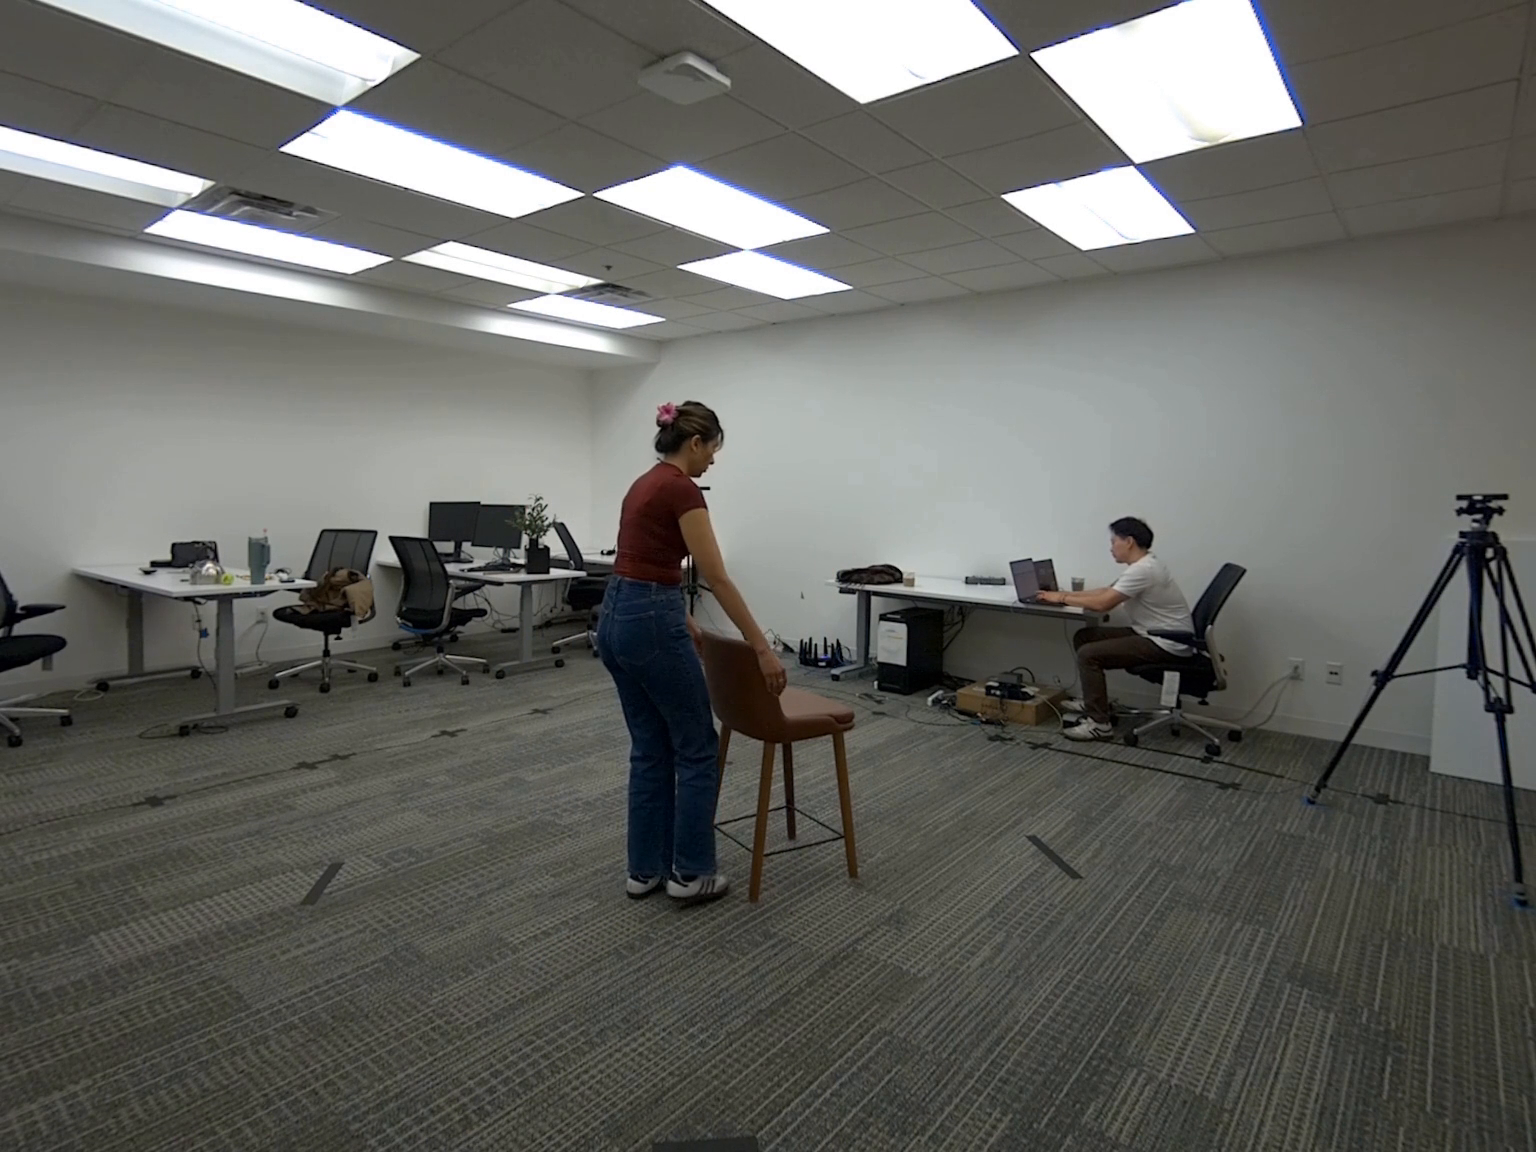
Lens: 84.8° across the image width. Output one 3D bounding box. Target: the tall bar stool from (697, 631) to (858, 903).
[{"bbox_3d":[0.021,0.633,3.093,0.455,0.886,0.471,-3,5,-33],"label":"tall bar stool"}]
